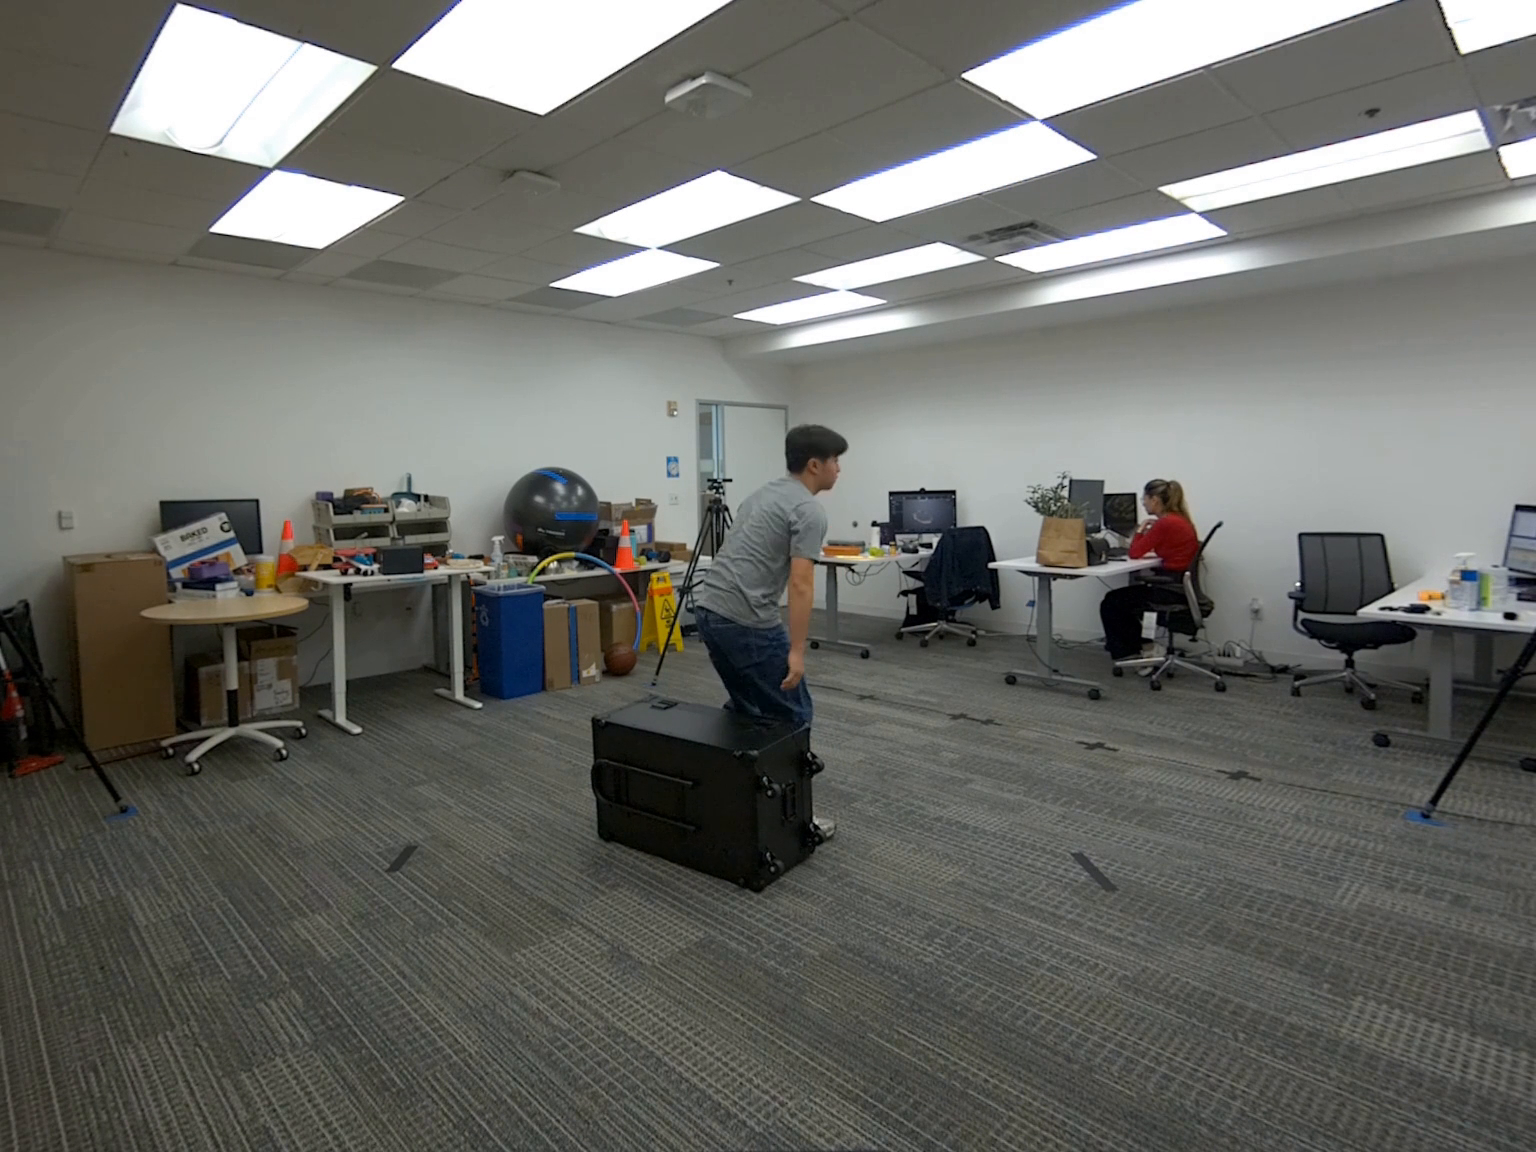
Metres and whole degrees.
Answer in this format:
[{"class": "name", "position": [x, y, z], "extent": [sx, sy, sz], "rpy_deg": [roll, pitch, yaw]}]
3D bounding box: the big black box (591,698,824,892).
[{"class": "big black box", "position": [-0.240, 0.778, 3.202], "extent": [0.887, 0.518, 0.387], "rpy_deg": [4, 8, 36]}]
